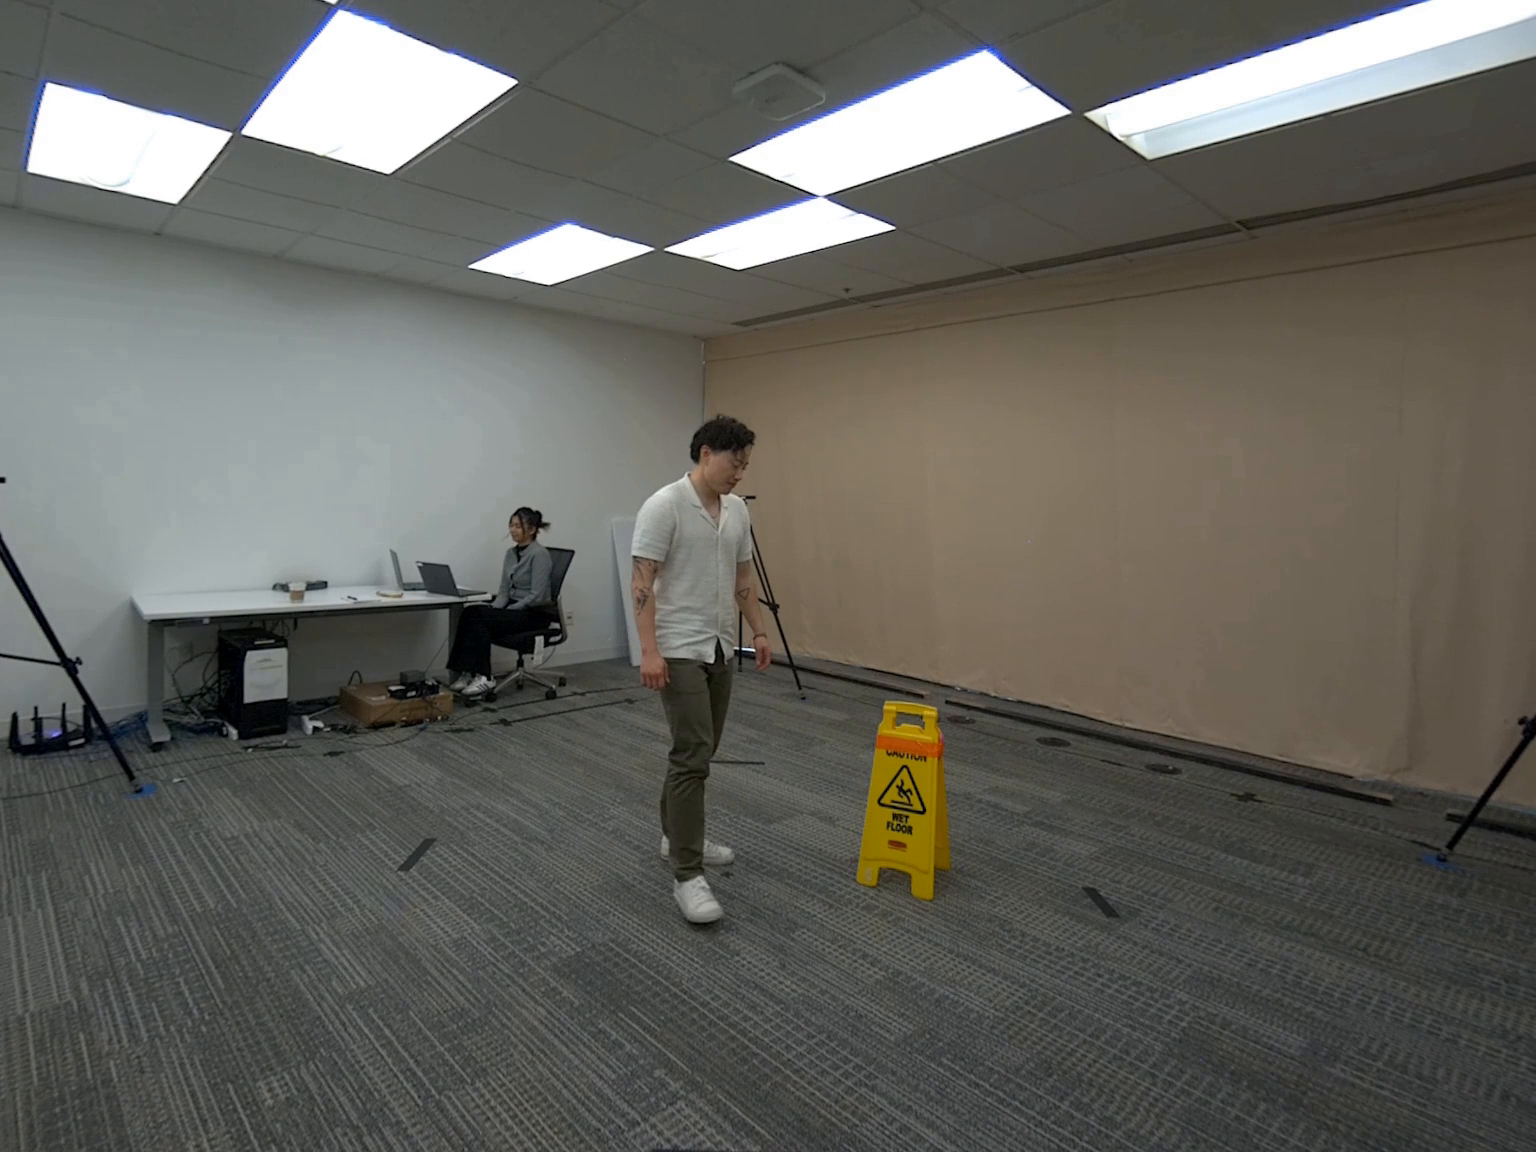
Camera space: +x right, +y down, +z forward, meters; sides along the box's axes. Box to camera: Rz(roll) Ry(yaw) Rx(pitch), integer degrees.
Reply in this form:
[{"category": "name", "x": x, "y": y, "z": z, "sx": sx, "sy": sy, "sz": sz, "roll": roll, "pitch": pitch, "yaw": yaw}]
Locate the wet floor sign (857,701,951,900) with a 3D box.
[{"category": "wet floor sign", "x": 0.513, "y": 0.795, "z": 3.115, "sx": 0.288, "sy": 0.644, "sz": 0.285, "roll": 4, "pitch": 3, "yaw": 25}]
